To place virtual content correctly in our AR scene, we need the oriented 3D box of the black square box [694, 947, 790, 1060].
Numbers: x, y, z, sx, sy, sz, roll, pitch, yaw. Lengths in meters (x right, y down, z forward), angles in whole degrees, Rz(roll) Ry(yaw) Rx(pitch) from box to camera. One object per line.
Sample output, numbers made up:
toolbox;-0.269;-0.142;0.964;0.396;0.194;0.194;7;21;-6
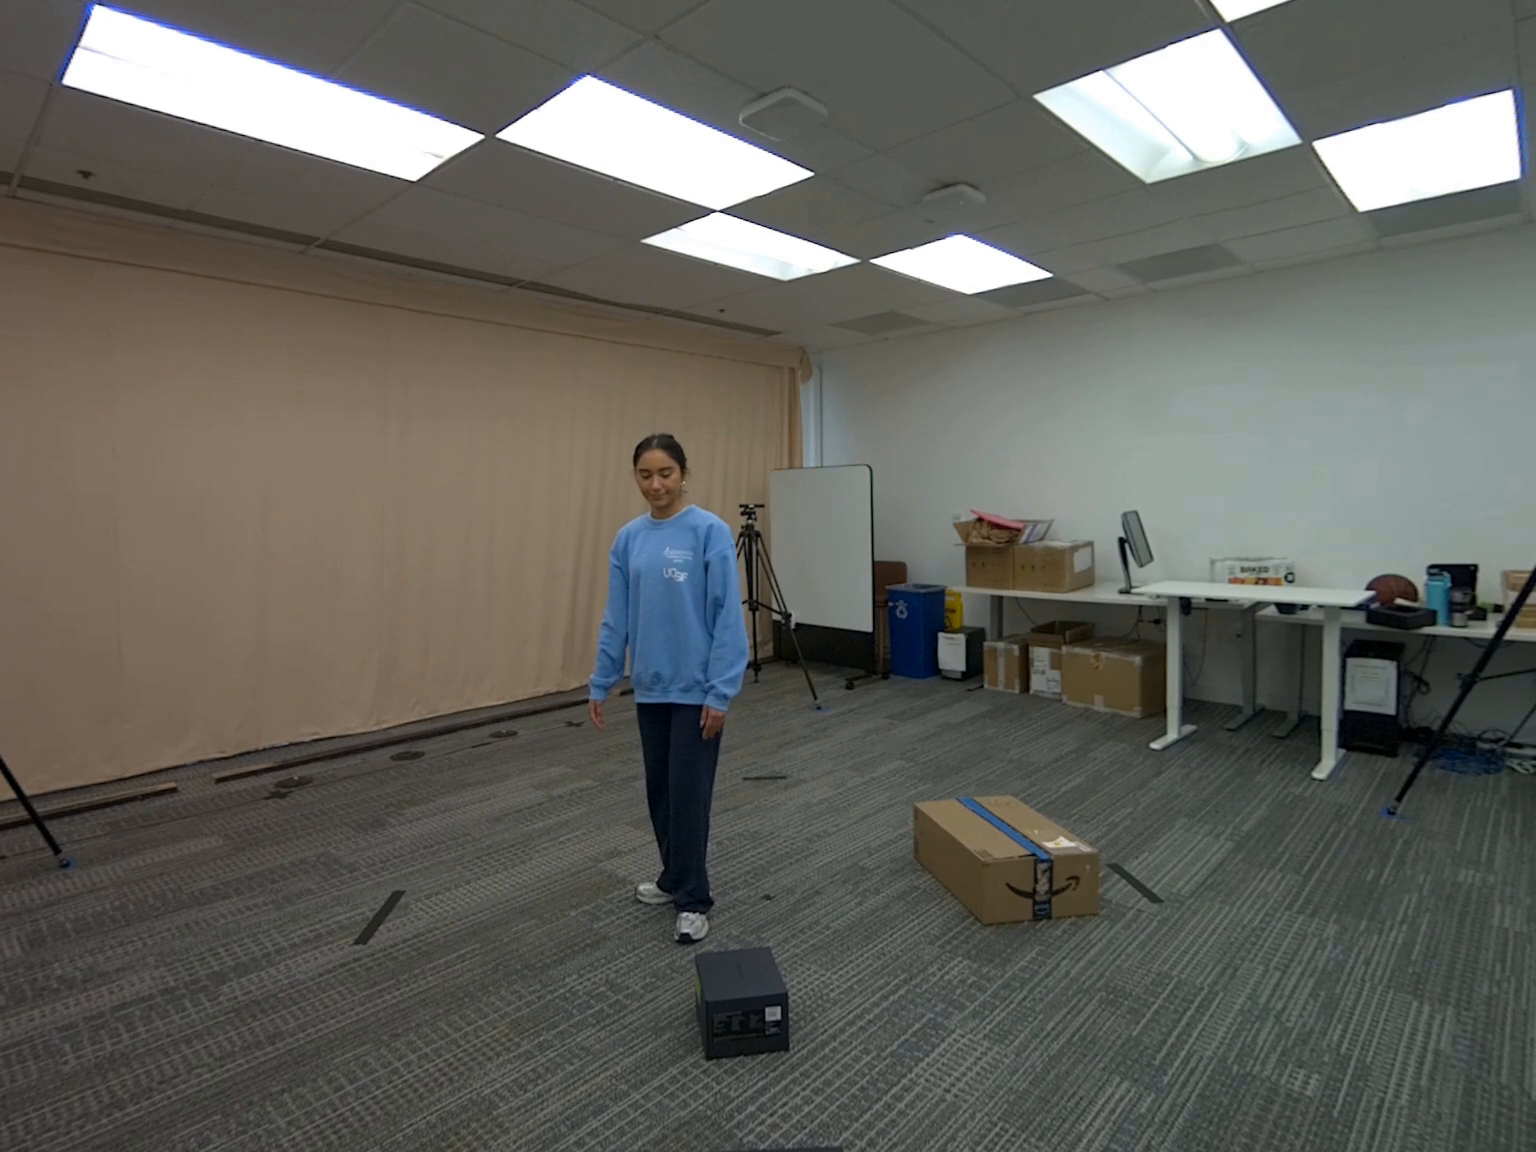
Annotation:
black square box;-0.071;1.121;2.229;0.215;0.155;0.231;-1;4;-11
